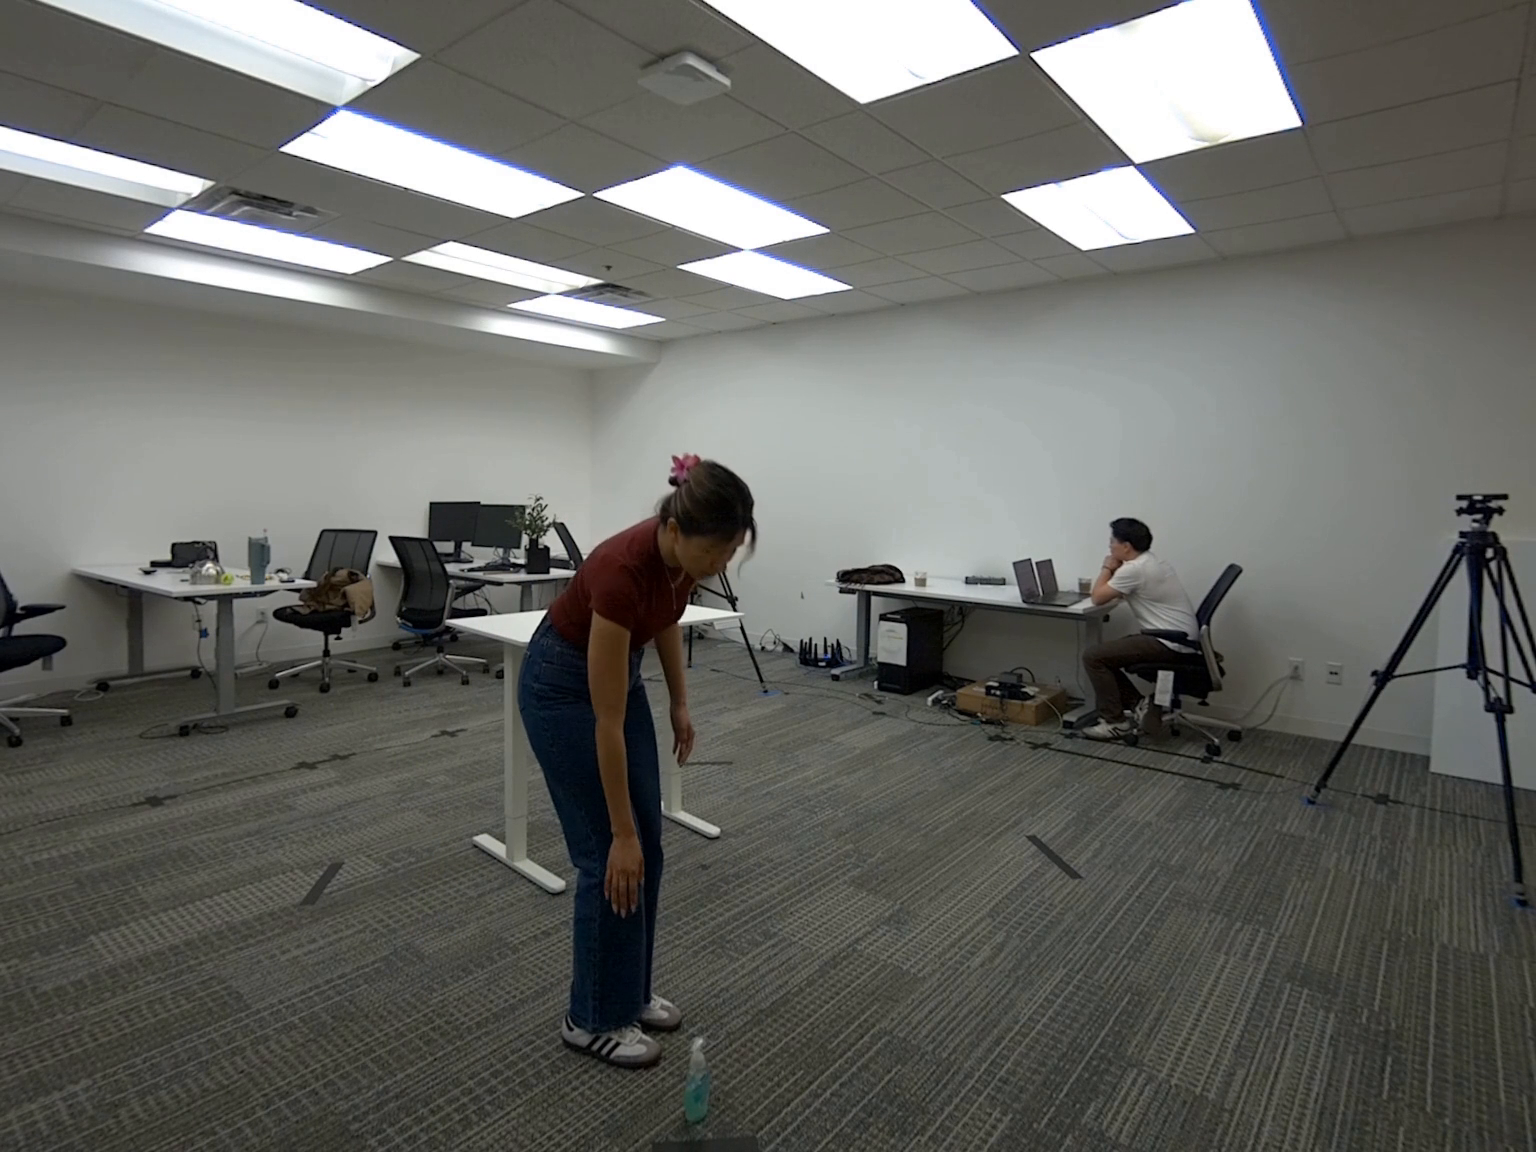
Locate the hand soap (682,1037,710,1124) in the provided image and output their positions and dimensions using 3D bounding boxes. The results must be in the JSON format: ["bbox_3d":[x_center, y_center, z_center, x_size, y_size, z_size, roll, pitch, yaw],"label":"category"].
[{"bbox_3d":[-0.162,1.111,1.886,0.044,0.167,0.083,6,5,17],"label":"hand soap"}]
